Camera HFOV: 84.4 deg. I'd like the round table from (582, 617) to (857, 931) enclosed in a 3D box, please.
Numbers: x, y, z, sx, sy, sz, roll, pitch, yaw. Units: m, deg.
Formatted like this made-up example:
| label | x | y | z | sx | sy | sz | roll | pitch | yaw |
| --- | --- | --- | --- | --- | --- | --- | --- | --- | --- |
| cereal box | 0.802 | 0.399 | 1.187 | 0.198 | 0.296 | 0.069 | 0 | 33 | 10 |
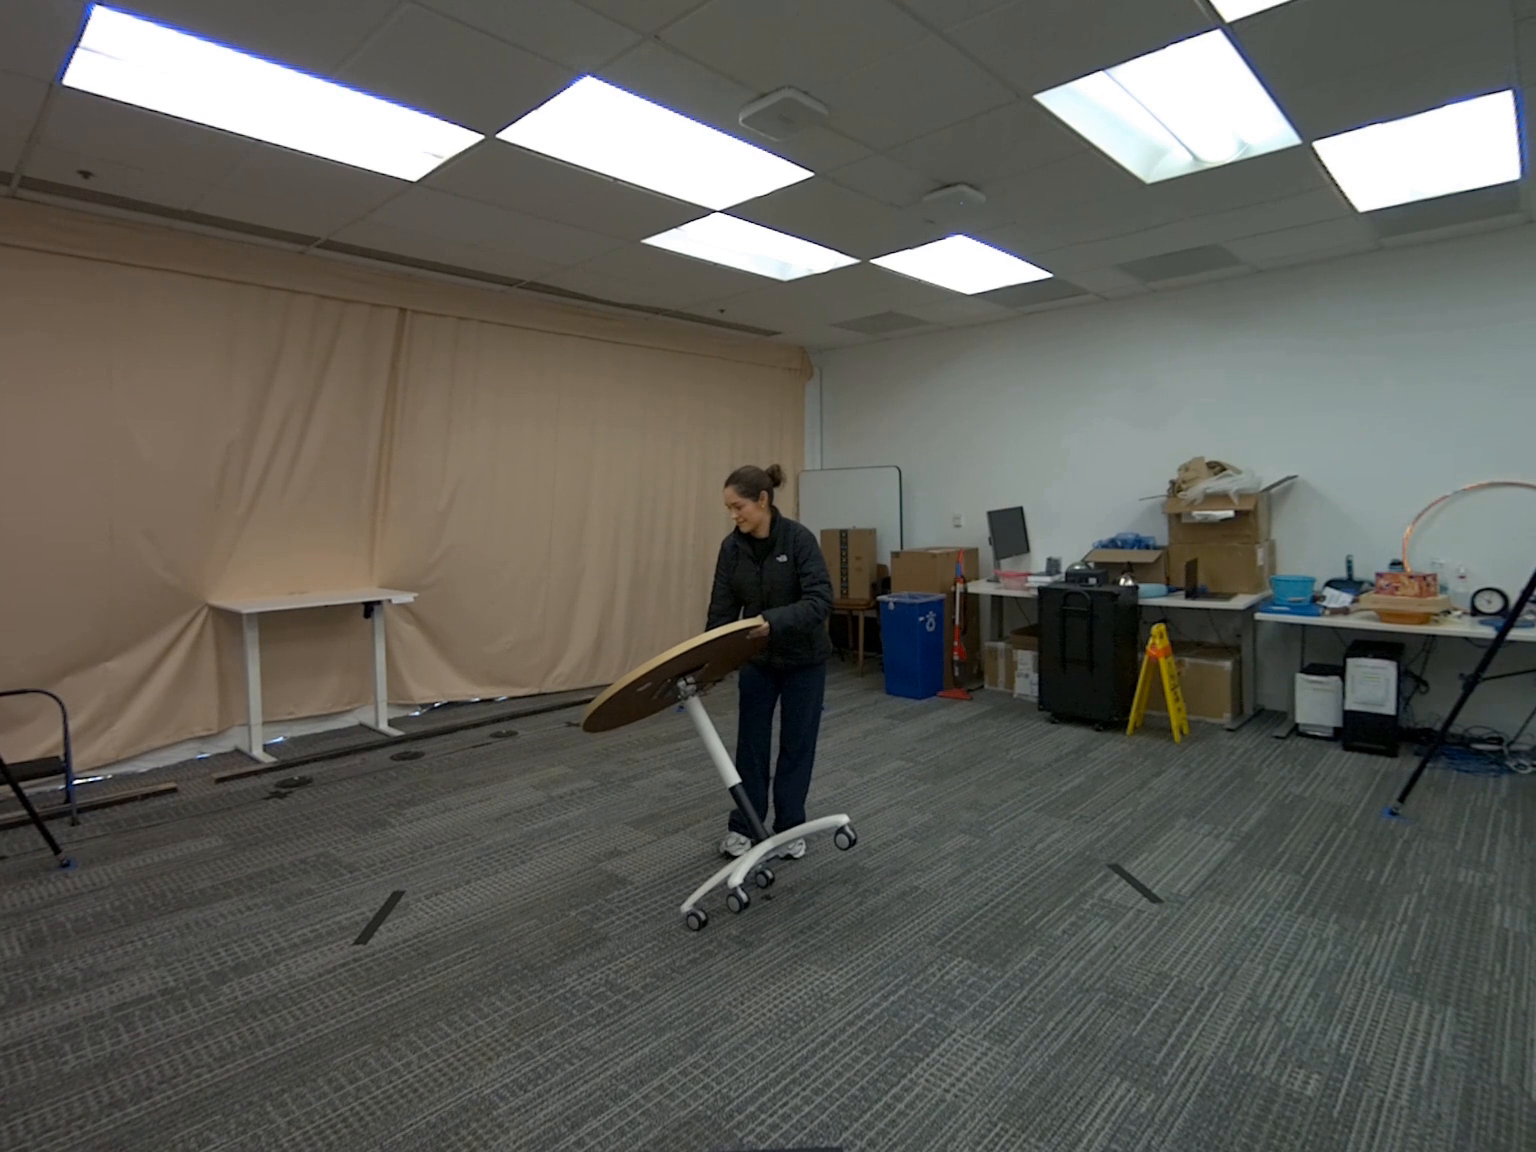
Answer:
| label | x | y | z | sx | sy | sz | roll | pitch | yaw |
| --- | --- | --- | --- | --- | --- | --- | --- | --- | --- |
| round table | -0.107 | 0.672 | 2.905 | 0.780 | 0.800 | 0.777 | -27 | -16 | -10 |
